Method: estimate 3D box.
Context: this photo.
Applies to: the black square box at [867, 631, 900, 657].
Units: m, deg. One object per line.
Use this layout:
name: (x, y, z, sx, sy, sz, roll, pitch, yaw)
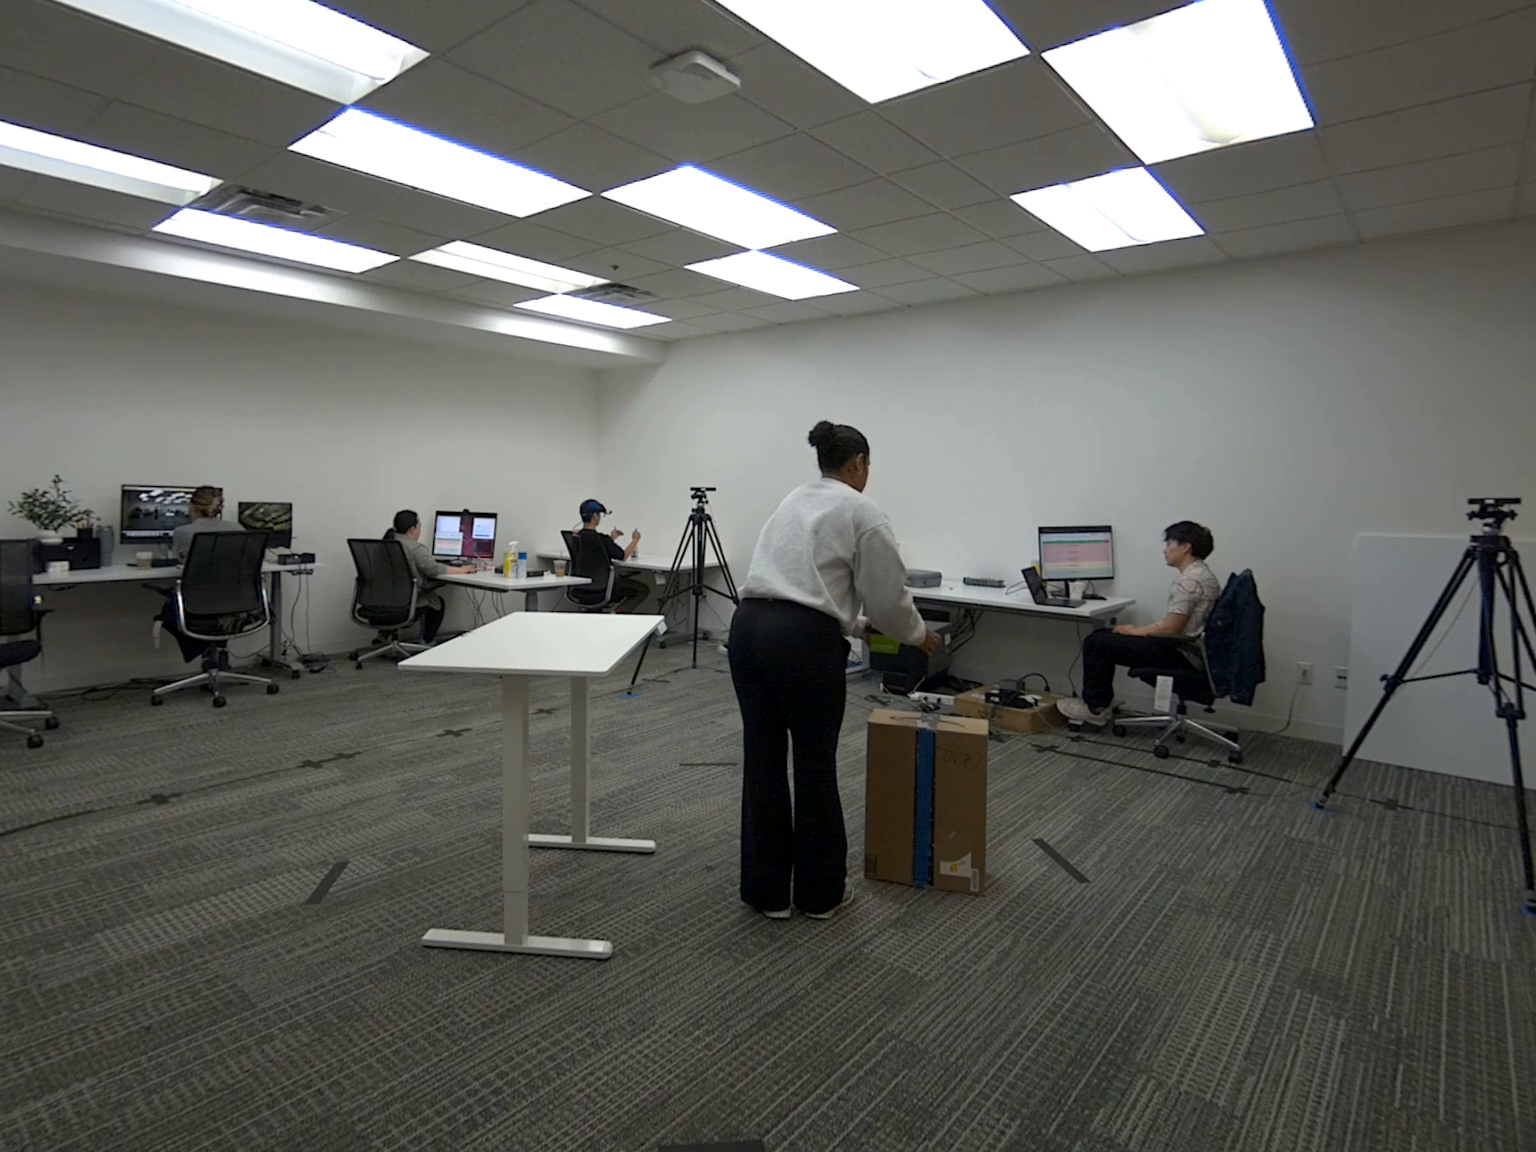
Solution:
black square box: (0.513, 0.245, 3.111, 0.235, 0.155, 0.212, 3, 9, 34)
